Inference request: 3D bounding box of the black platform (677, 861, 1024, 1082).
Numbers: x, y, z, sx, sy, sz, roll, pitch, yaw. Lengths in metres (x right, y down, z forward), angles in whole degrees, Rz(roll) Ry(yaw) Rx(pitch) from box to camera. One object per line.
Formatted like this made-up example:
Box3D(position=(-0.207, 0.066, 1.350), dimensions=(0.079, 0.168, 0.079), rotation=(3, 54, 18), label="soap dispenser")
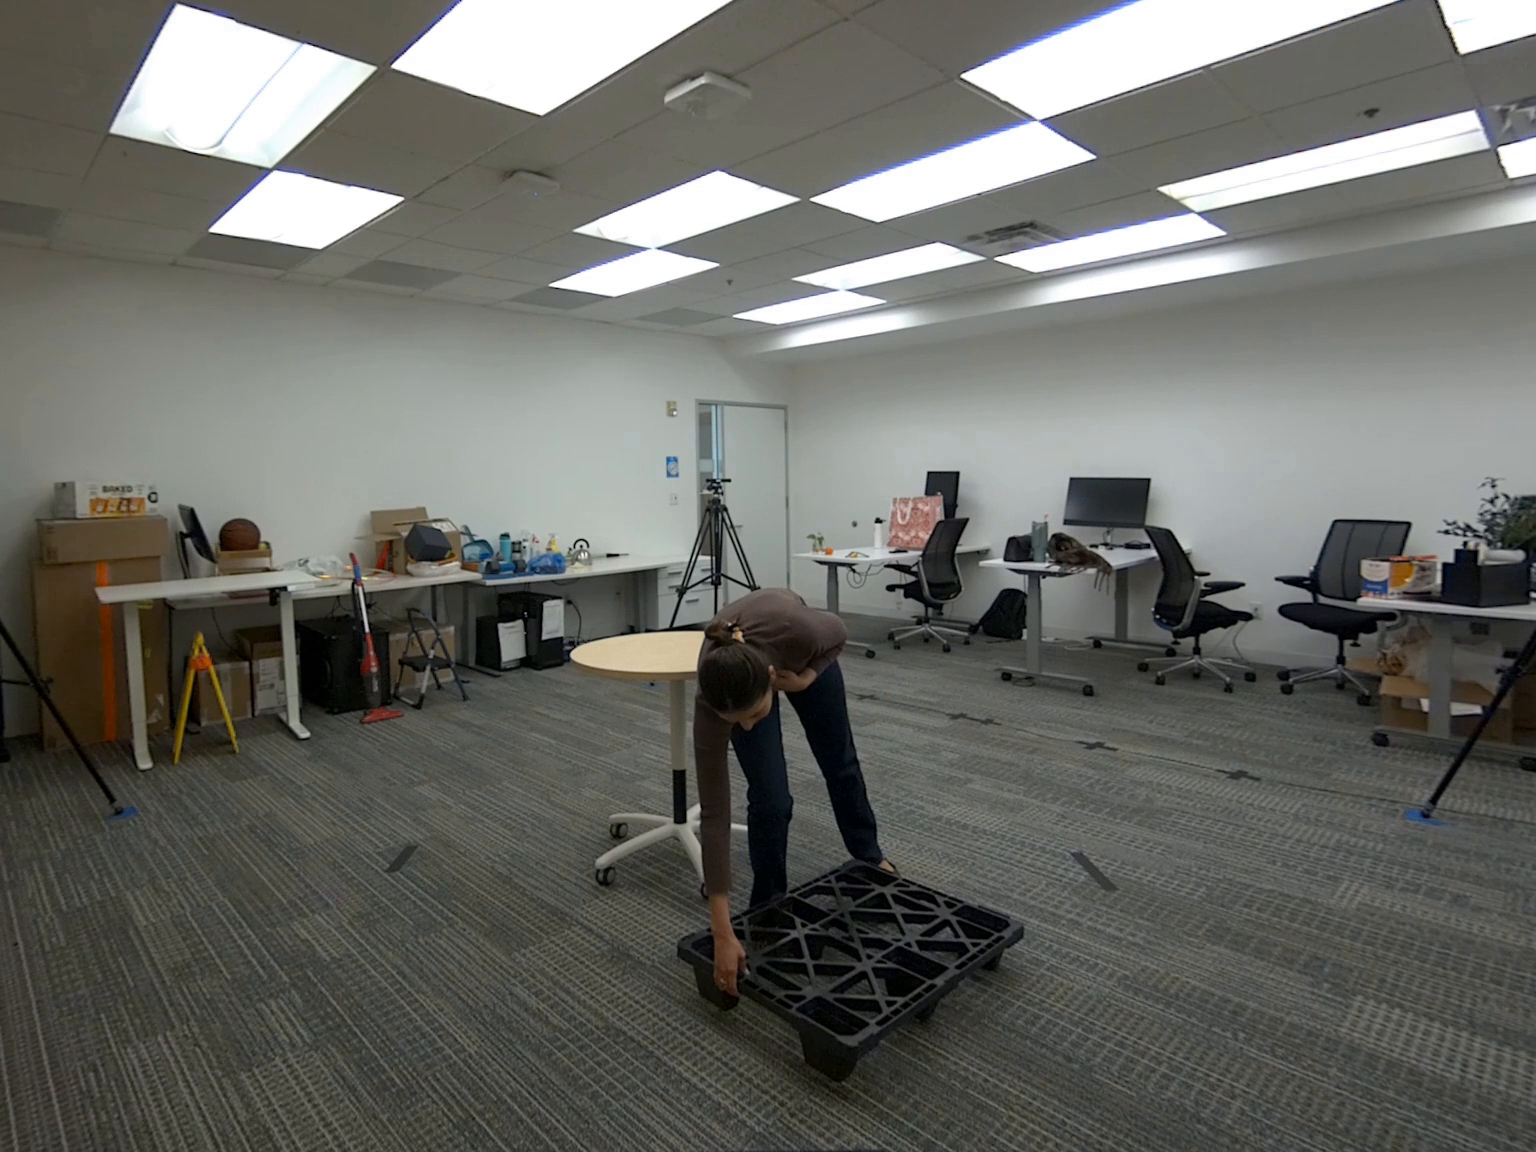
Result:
Box3D(position=(0.239, 1.051, 2.345), dimensions=(0.624, 0.143, 0.783), rotation=(5, 7, 44), label="black platform")
